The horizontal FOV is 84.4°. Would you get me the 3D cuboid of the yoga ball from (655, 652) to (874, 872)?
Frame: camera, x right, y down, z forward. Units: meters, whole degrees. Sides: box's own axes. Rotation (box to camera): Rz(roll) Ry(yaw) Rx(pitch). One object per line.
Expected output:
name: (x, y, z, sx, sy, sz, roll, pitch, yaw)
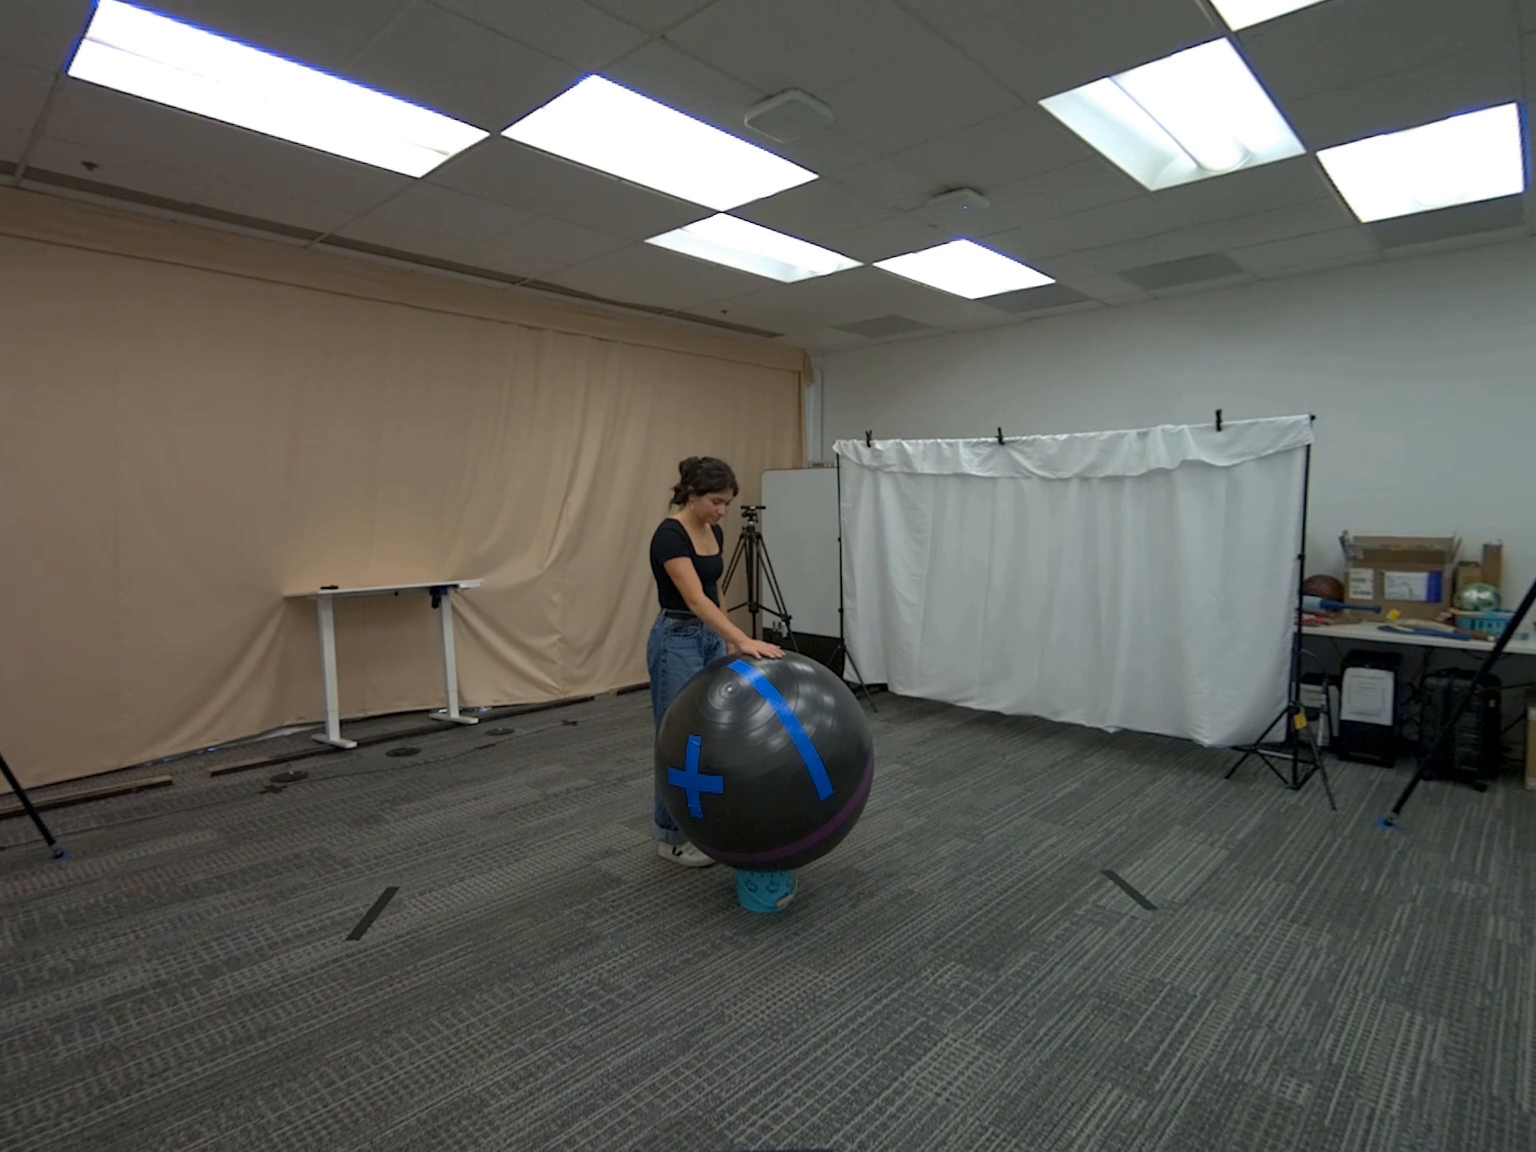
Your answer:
yoga ball: (-0.012, 0.635, 2.944, 0.757, 0.756, 0.760, 0, 4, -2)
